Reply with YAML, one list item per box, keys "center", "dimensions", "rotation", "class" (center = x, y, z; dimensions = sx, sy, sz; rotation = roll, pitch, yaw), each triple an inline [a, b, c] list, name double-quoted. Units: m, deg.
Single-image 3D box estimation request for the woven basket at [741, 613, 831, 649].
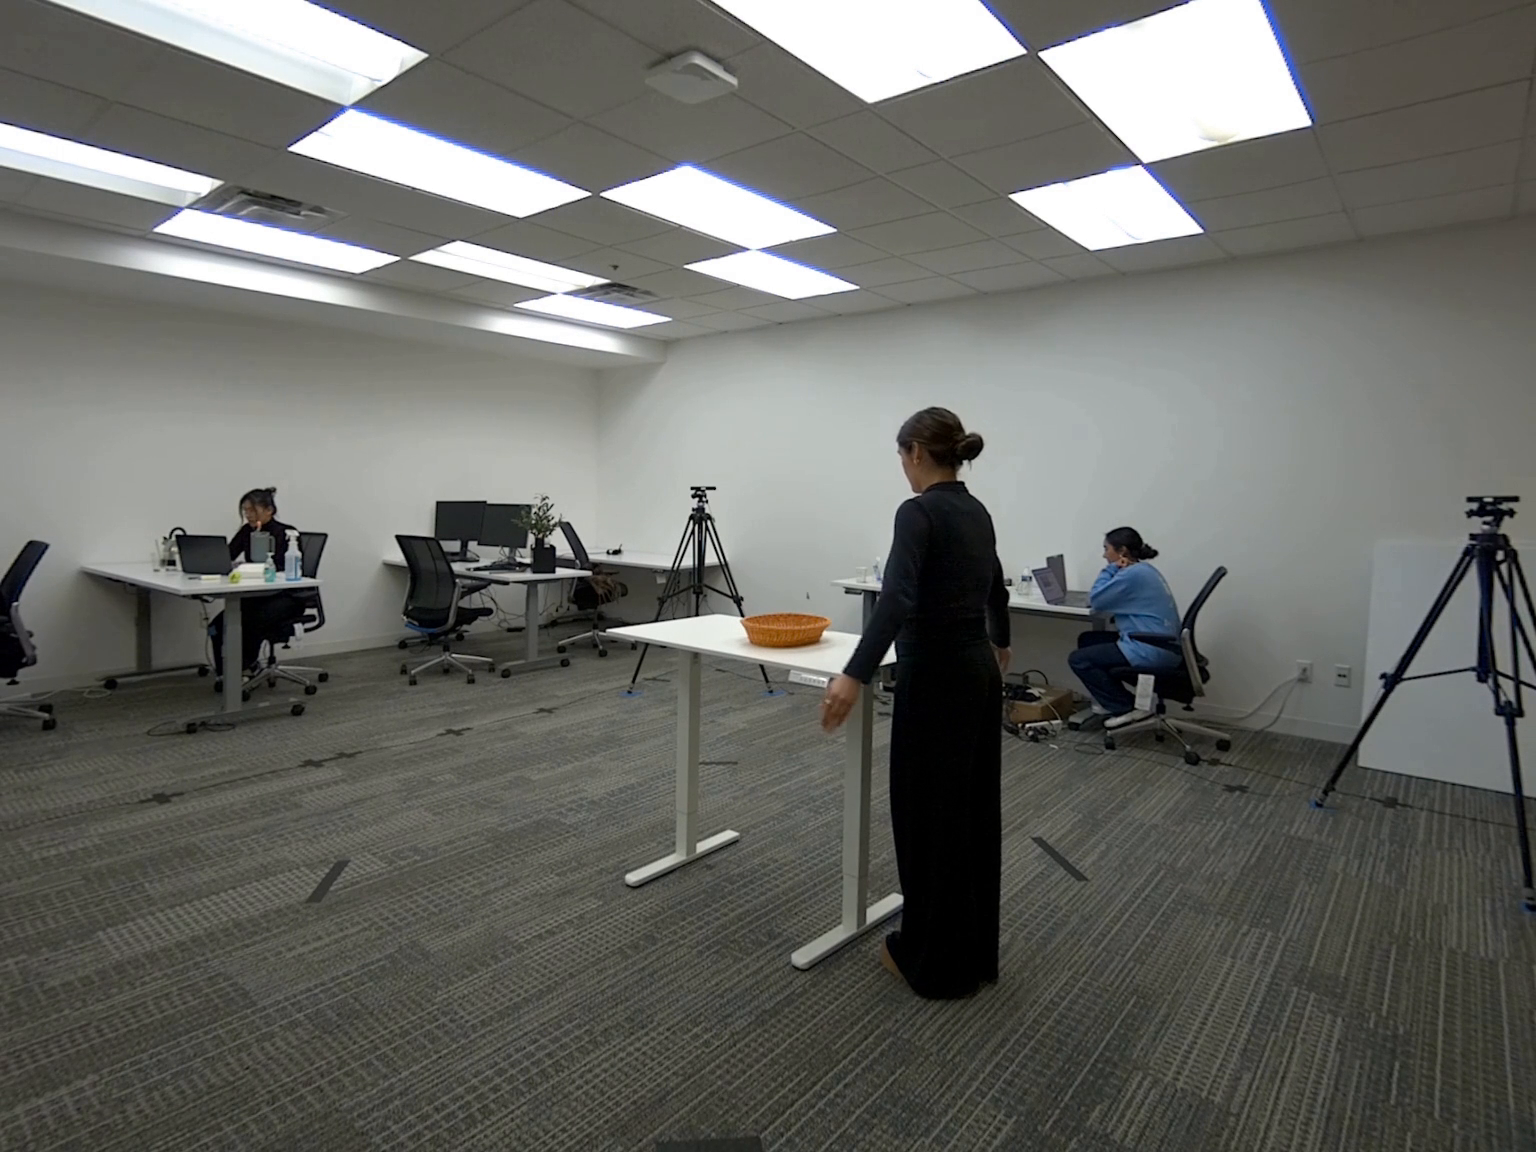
- center: [0.062, 0.185, 2.834]
  dimensions: [0.261, 0.073, 0.340]
  rotation: [6, 7, 44]
  class: "woven basket"
